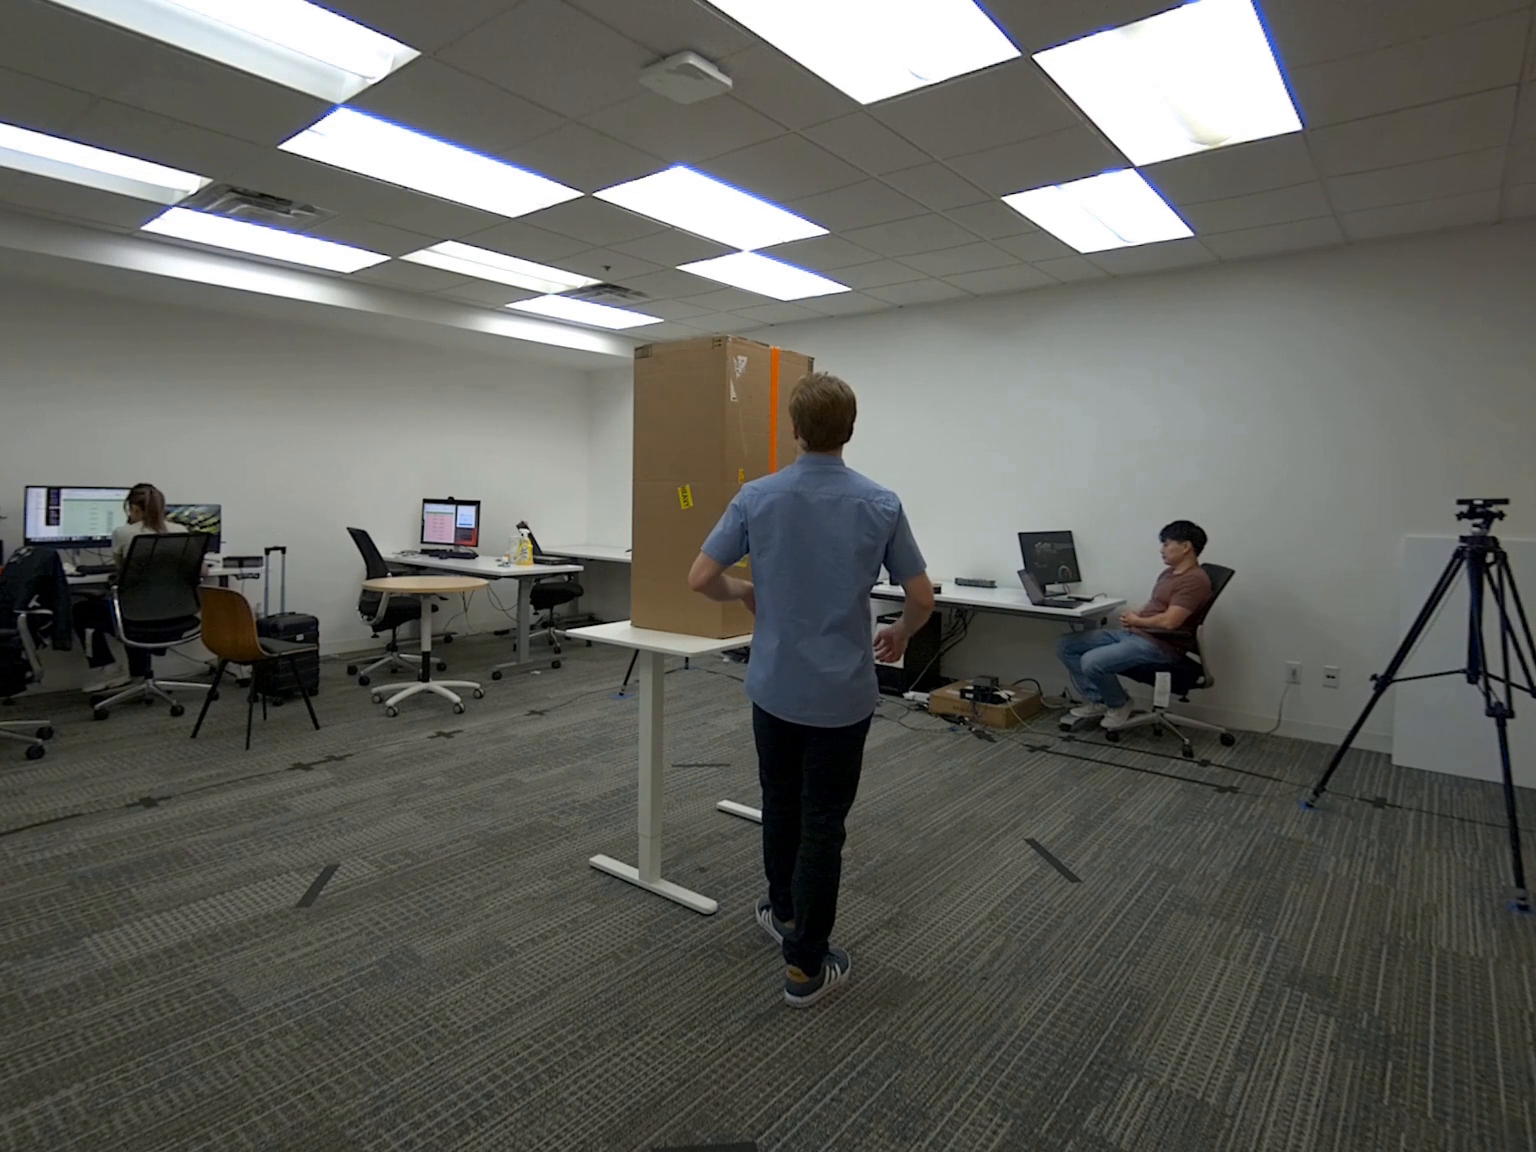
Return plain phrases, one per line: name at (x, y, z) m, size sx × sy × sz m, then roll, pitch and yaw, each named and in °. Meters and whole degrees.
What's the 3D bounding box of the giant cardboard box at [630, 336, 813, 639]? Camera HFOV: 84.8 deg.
giant cardboard box at (-0.171, -0.329, 3.189) m, size 0.440 × 1.023 × 0.561 m, roll 3°, pitch 4°, yaw 36°
